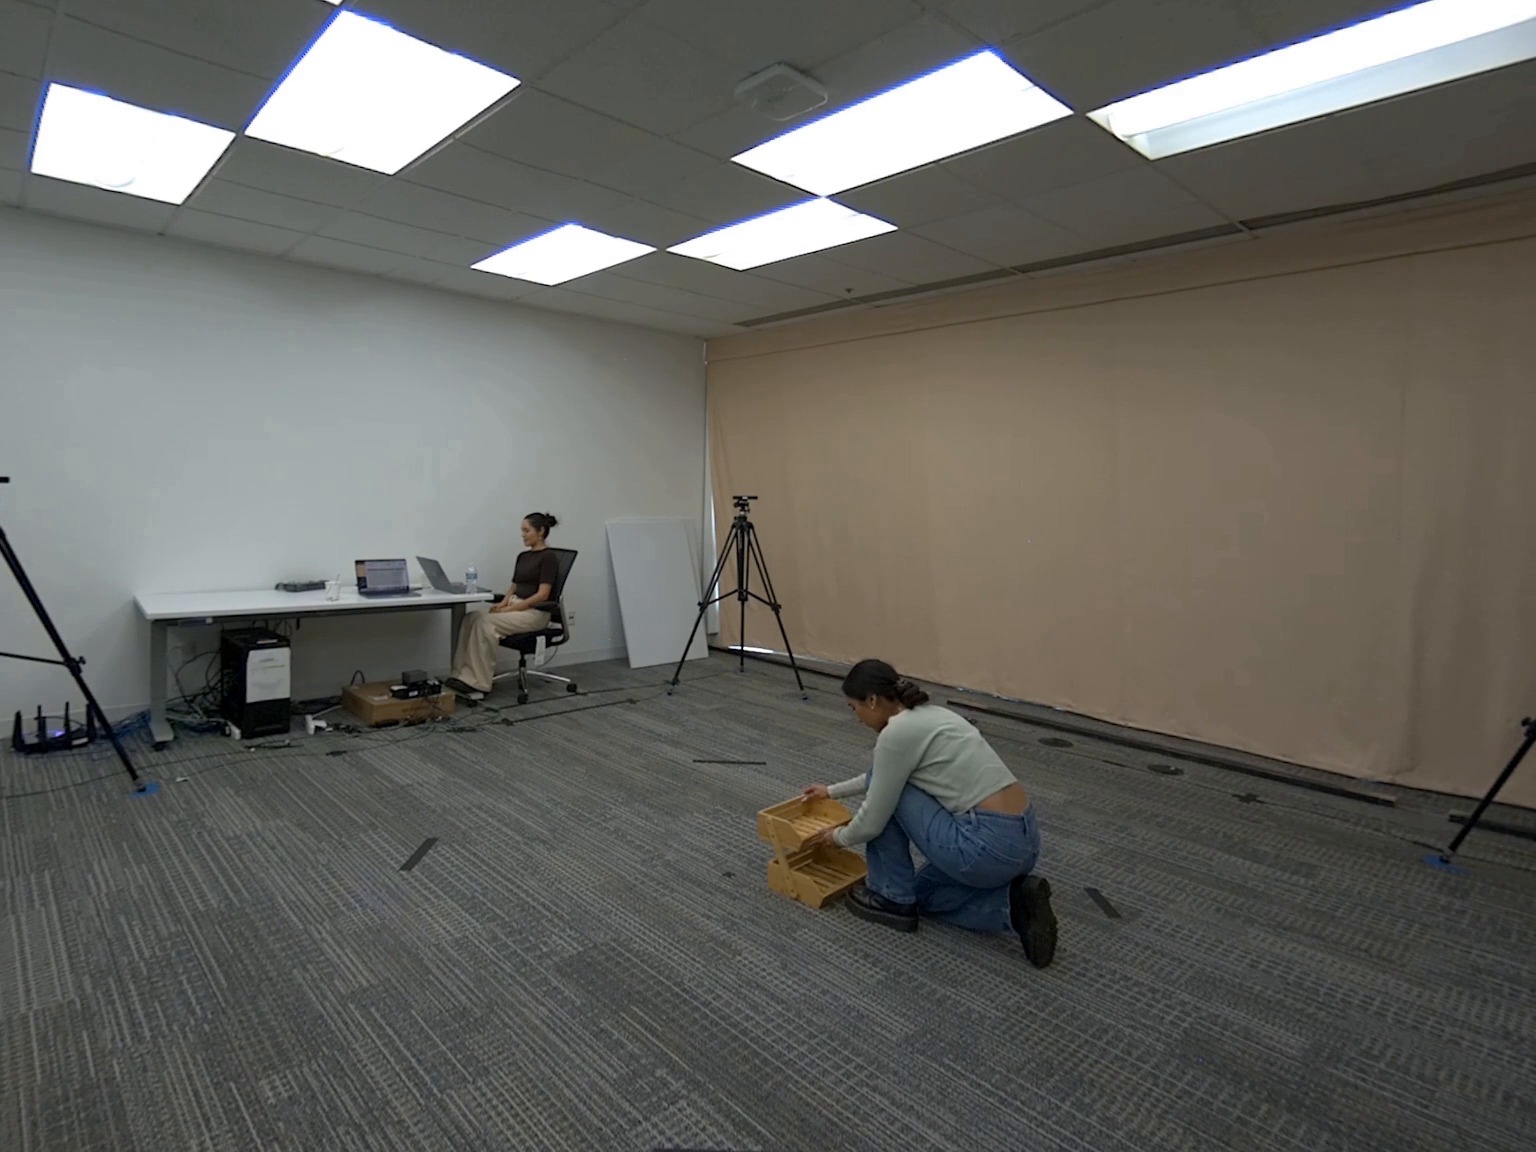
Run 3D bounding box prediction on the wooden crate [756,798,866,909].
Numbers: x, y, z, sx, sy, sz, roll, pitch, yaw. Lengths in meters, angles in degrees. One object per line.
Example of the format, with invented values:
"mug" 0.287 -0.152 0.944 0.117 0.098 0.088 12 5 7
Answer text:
"wooden crate" 0.165 0.982 3.046 0.309 0.273 0.317 3 5 42
